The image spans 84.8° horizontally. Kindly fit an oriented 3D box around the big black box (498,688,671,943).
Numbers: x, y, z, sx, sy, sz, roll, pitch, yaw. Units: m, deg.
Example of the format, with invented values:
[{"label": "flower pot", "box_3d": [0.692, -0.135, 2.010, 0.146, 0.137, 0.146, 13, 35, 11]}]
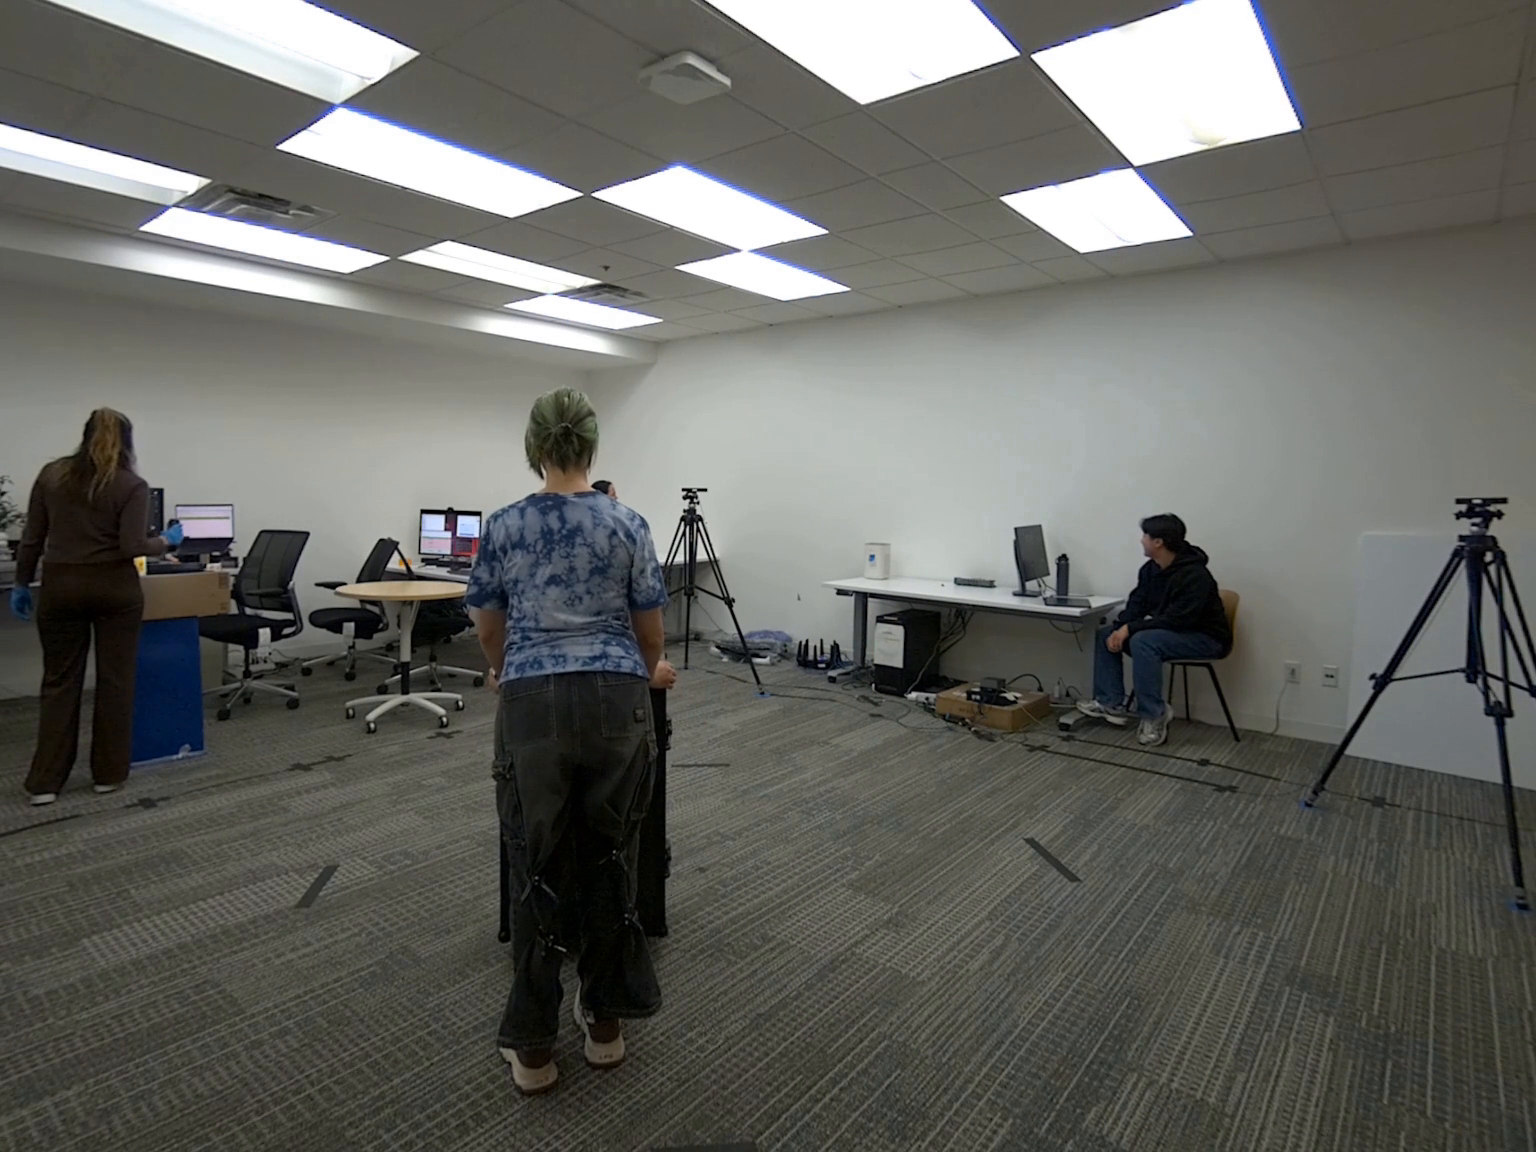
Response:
[{"label": "big black box", "box_3d": [-0.574, 0.685, 2.642, 0.519, 0.860, 0.399, 0, 1, -5]}]
